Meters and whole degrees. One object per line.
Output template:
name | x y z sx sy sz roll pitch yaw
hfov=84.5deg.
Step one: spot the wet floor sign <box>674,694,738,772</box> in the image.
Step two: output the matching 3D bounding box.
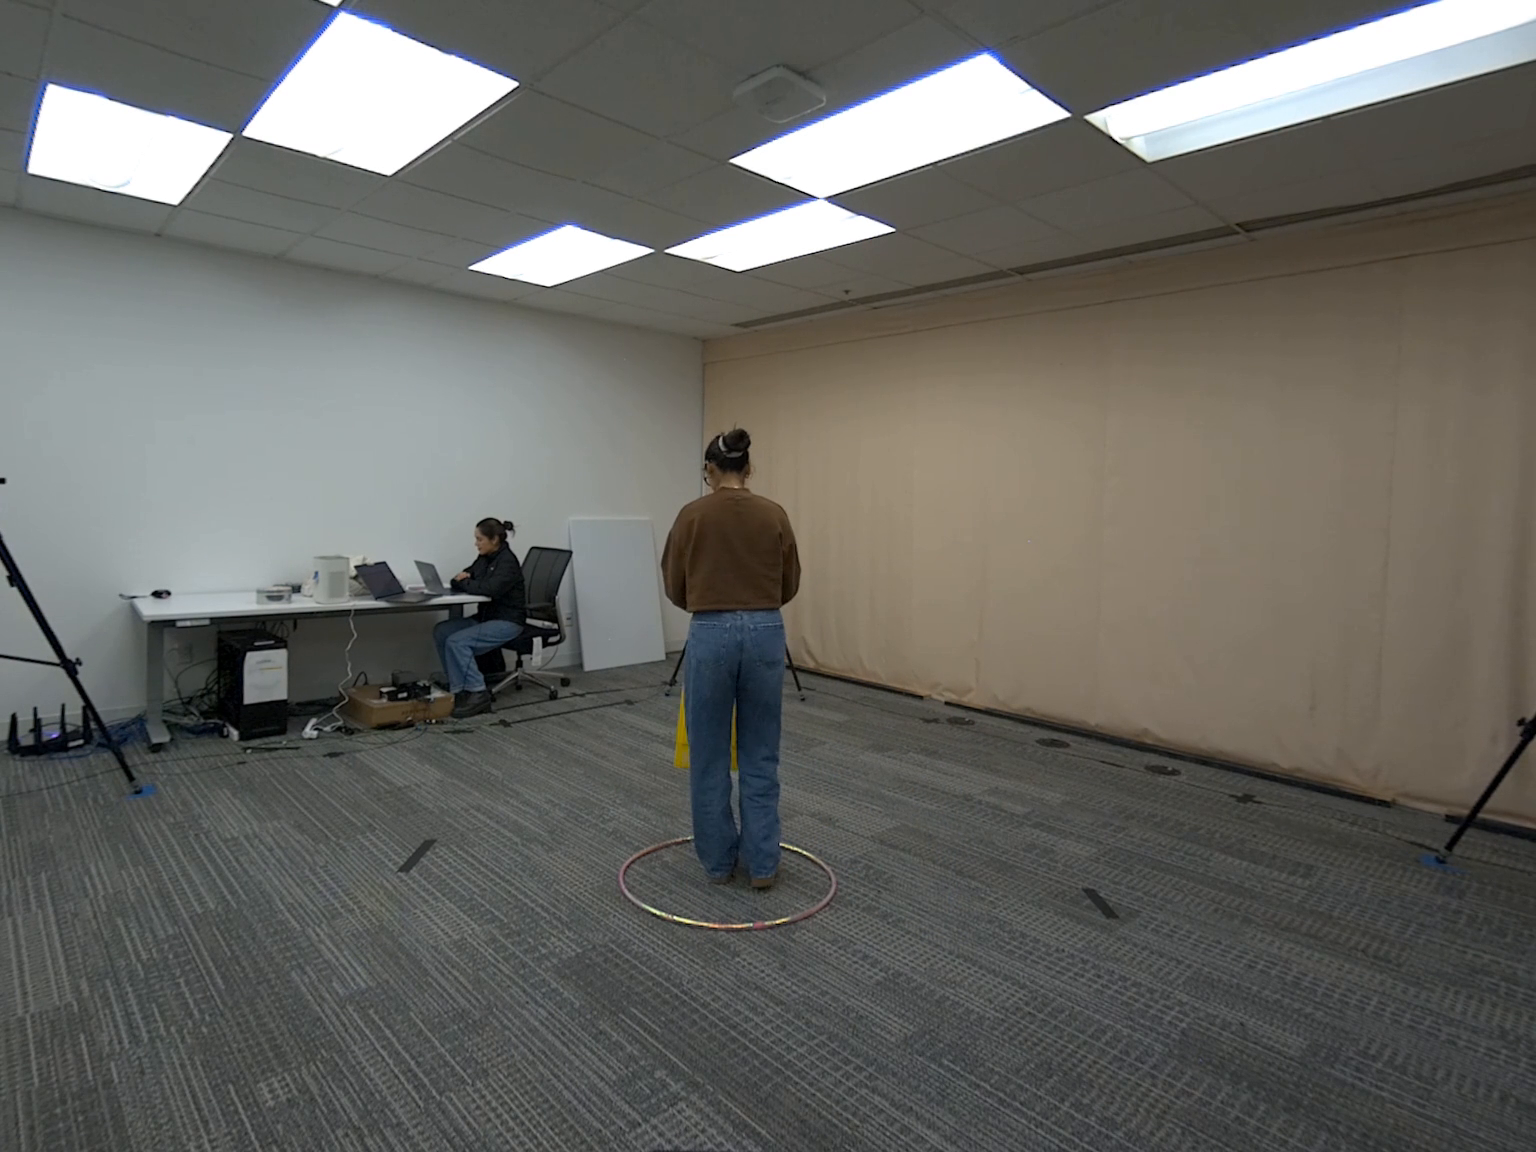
wet floor sign | -0.215 0.426 3.402 0.281 0.644 0.292 6 5 -5
